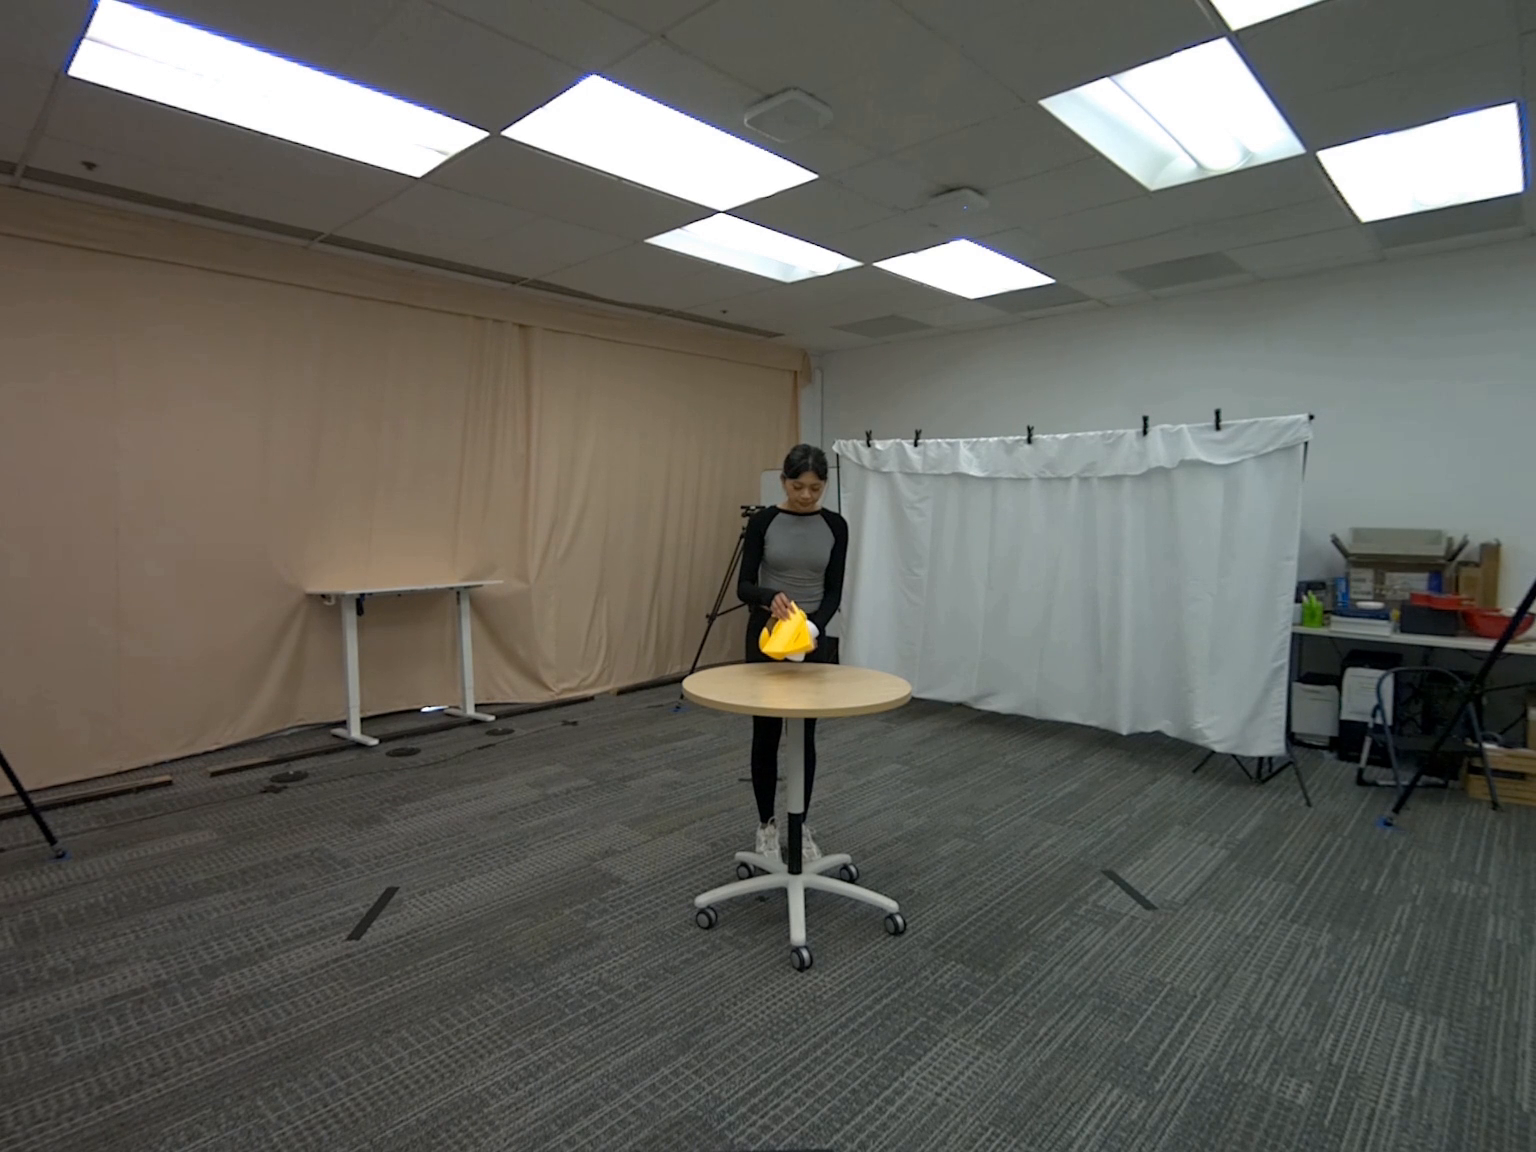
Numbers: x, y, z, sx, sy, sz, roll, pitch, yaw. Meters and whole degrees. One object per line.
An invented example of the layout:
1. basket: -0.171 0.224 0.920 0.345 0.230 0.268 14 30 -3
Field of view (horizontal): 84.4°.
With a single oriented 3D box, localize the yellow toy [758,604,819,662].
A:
1. yellow toy: 0.102 0.225 2.951 0.186 0.205 0.239 37 -7 -37
